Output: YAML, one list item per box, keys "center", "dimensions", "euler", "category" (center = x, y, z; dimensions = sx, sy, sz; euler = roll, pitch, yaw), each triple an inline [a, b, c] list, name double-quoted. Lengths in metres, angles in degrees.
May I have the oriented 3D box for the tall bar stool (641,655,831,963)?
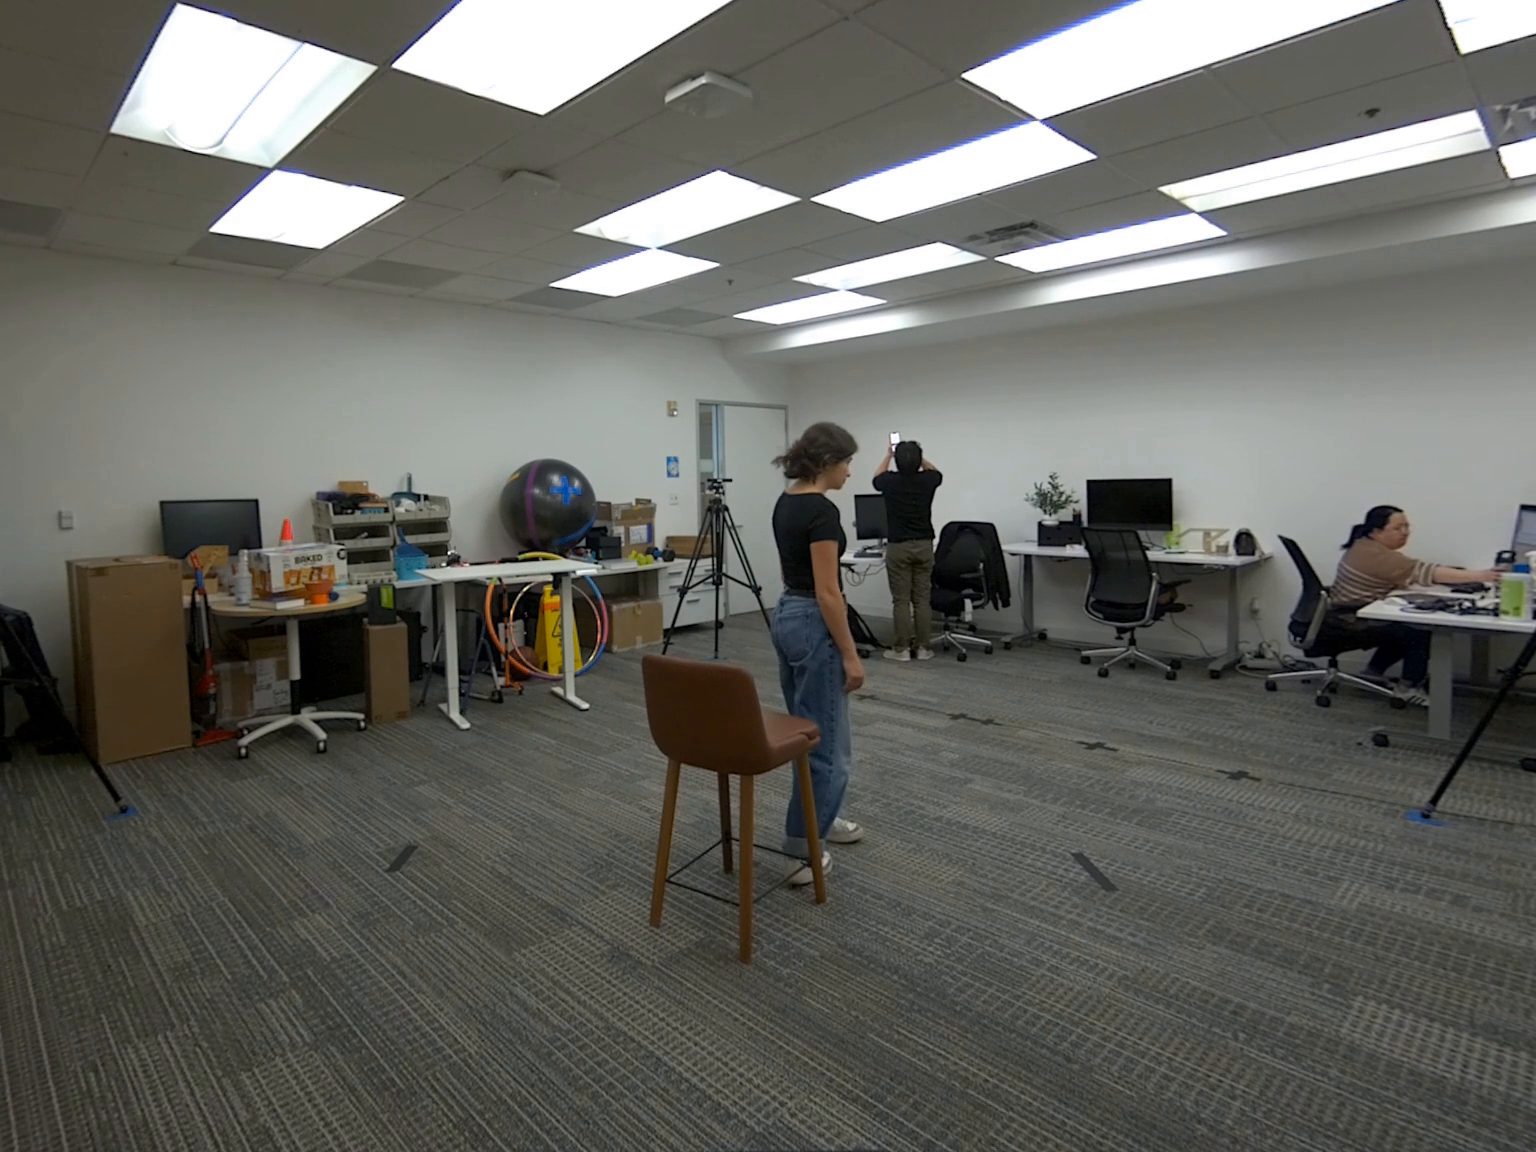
- center: [-0.107, 0.656, 2.726]
  dimensions: [0.469, 0.885, 0.457]
  euler: [2, 7, 35]
  category: "tall bar stool"
